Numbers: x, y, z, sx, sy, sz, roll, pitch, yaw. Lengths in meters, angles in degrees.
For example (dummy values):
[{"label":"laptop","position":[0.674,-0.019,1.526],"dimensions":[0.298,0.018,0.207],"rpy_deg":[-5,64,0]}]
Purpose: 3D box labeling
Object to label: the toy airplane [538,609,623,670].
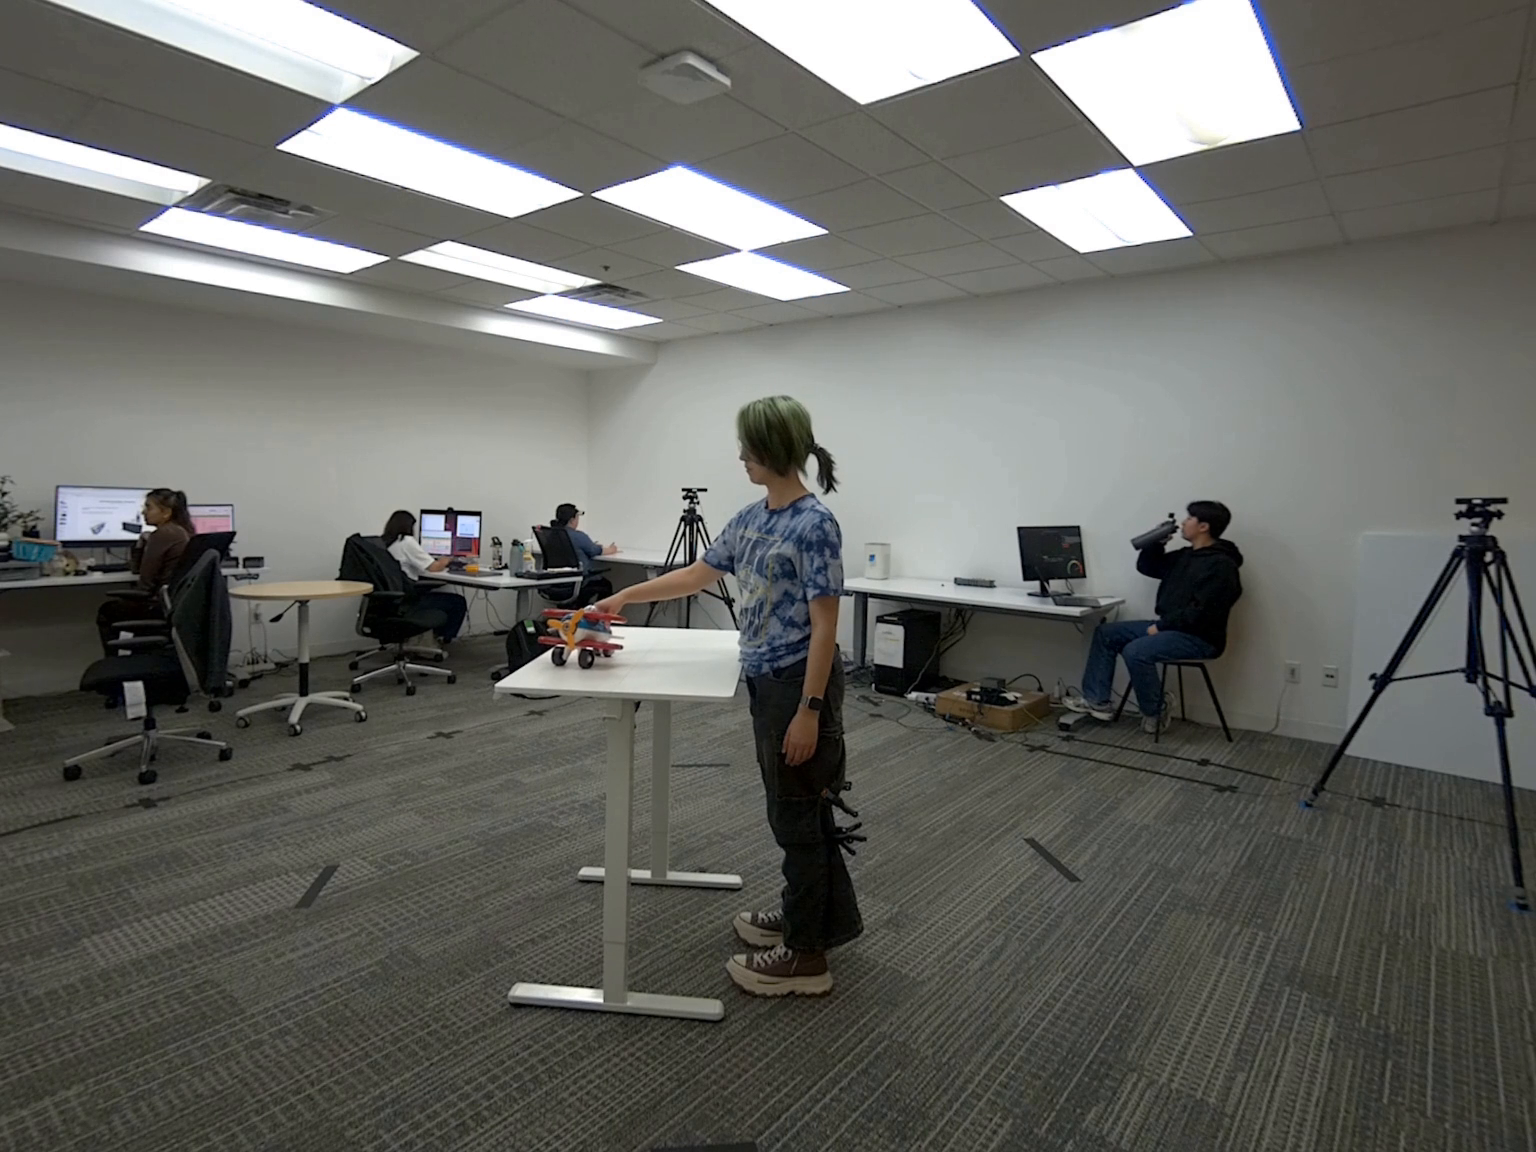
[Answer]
[{"label":"toy airplane","position":[-0.554,0.169,2.457],"dimensions":[0.249,0.155,0.263],"rpy_deg":[0,7,-9]}]
